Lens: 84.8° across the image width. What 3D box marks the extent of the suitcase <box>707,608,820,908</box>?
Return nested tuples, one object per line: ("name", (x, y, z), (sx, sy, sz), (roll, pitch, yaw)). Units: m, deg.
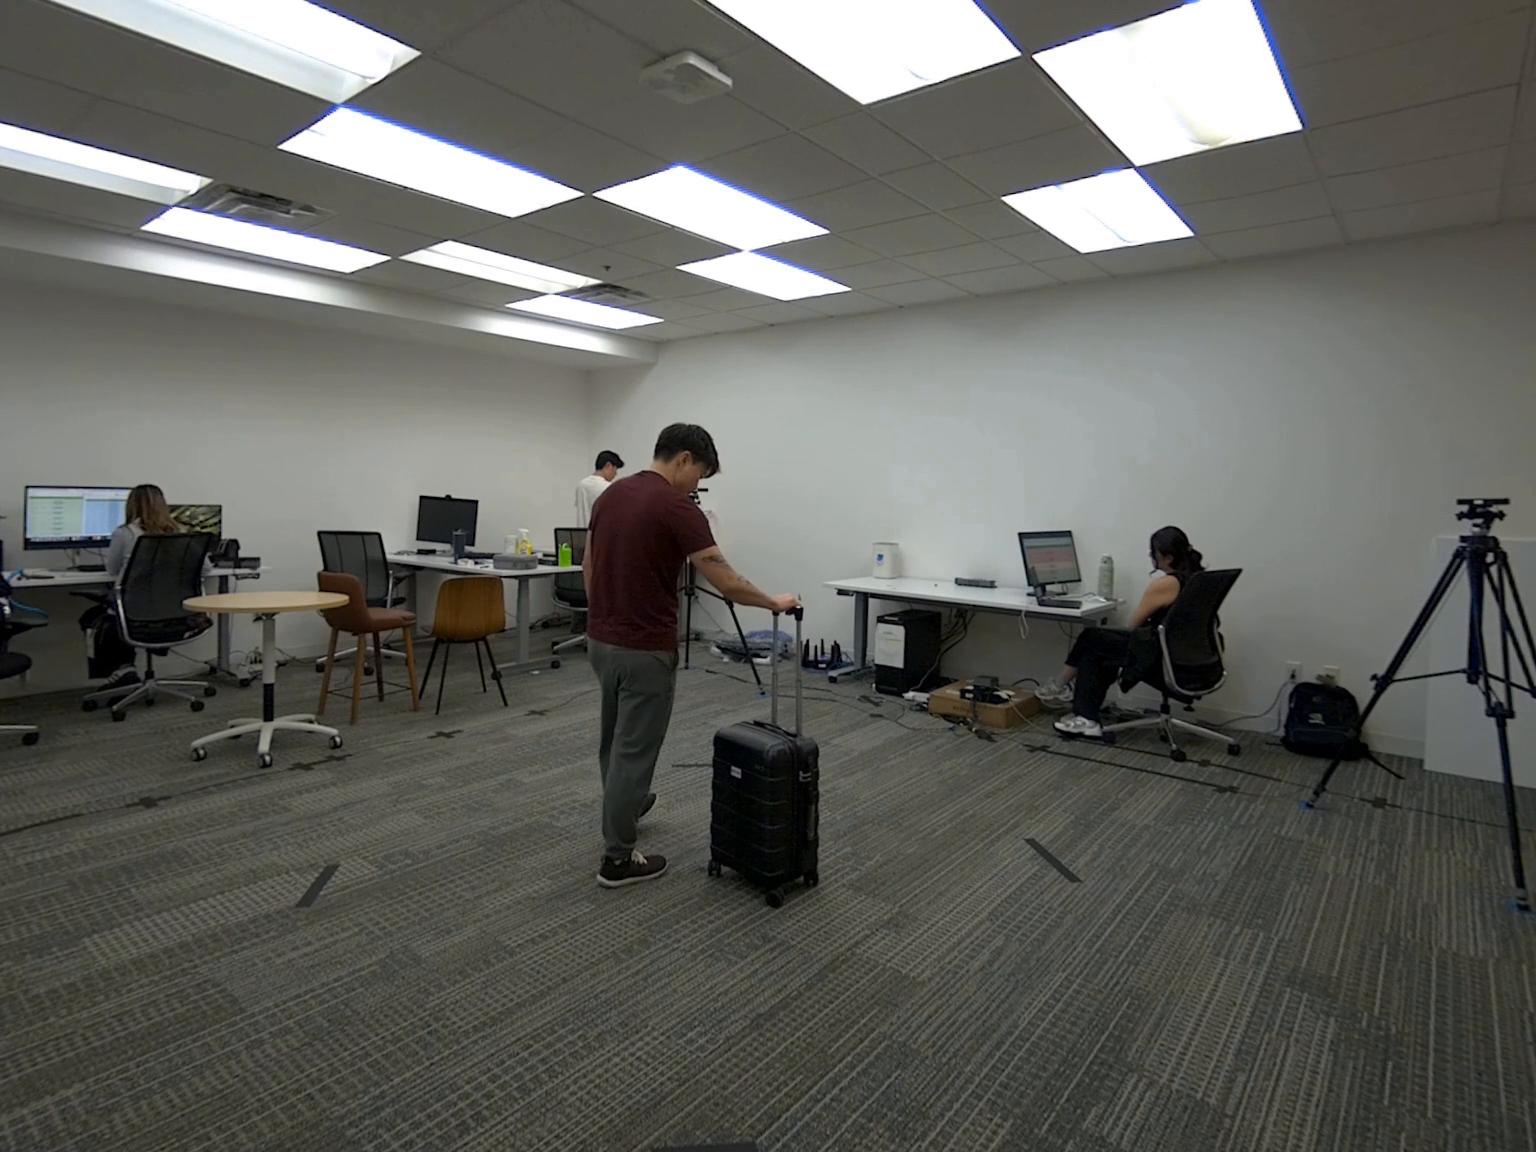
("suitcase", (-0.012, 0.608, 3.006), (0.249, 0.975, 0.397), (-2, 5, -41))
